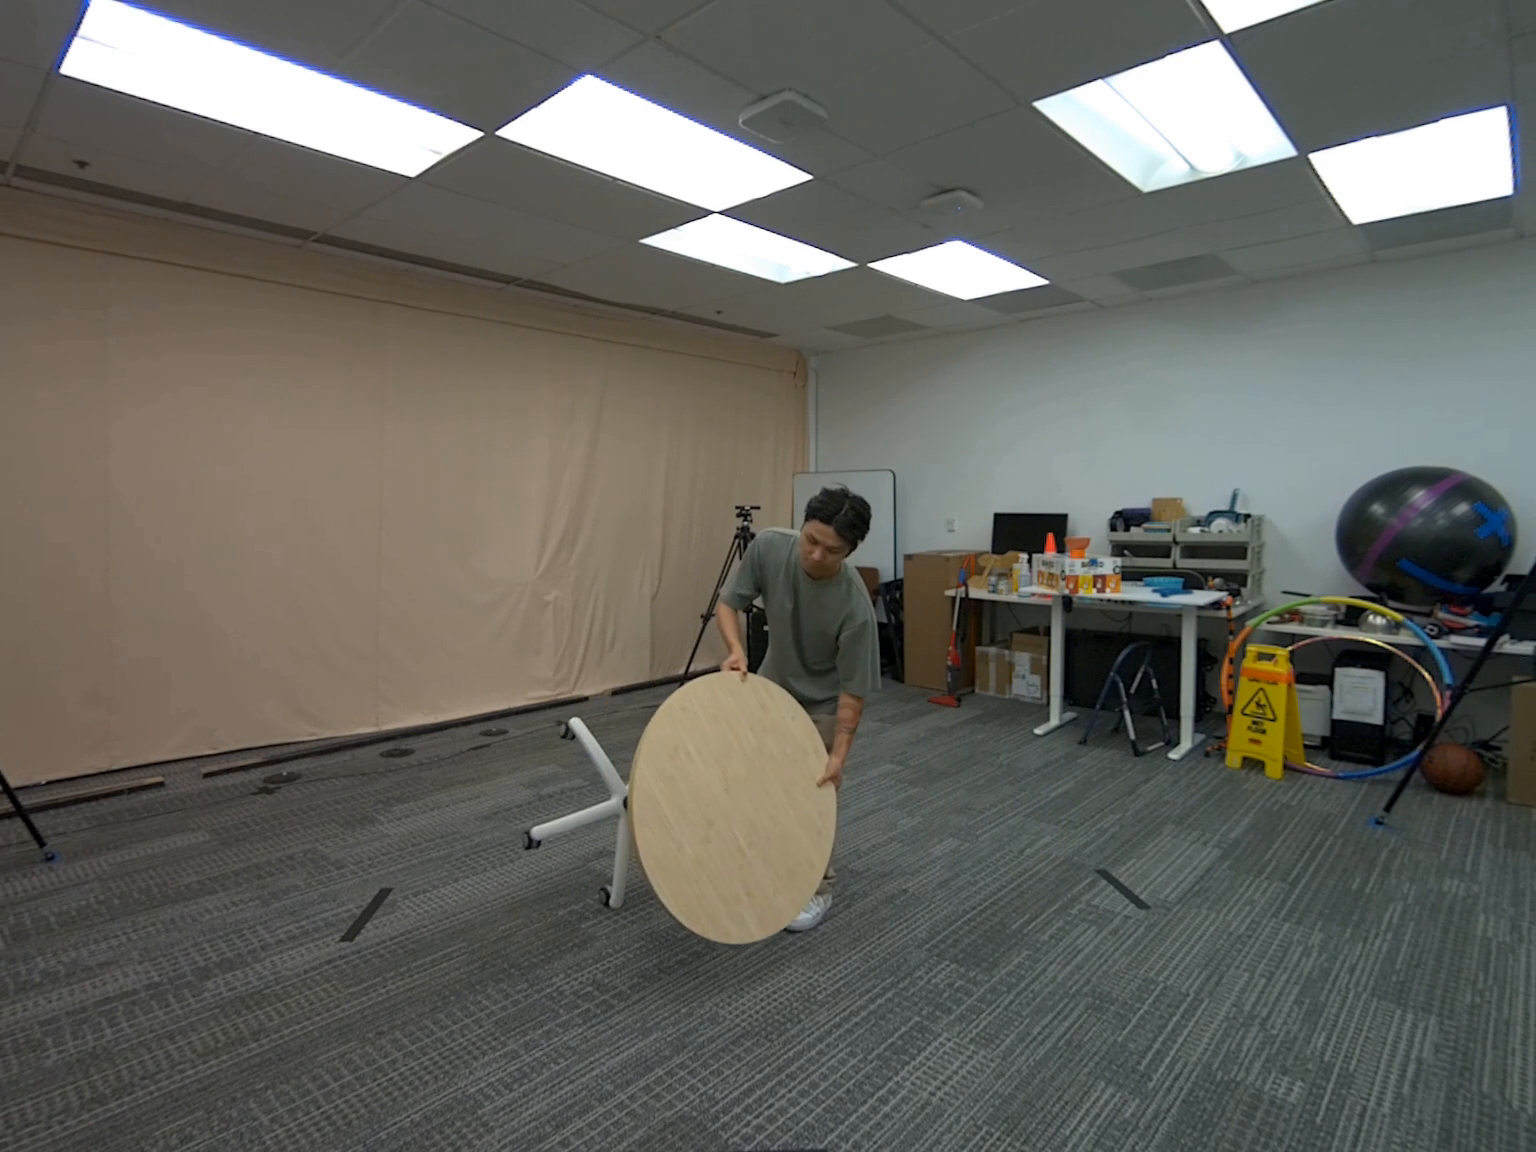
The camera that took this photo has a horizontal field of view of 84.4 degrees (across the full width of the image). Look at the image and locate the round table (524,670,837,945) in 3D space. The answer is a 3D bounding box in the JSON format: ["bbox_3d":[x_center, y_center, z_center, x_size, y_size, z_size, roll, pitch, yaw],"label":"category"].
[{"bbox_3d":[-0.329,0.749,2.780,0.761,0.791,0.804,-3,-12,-41],"label":"round table"}]
